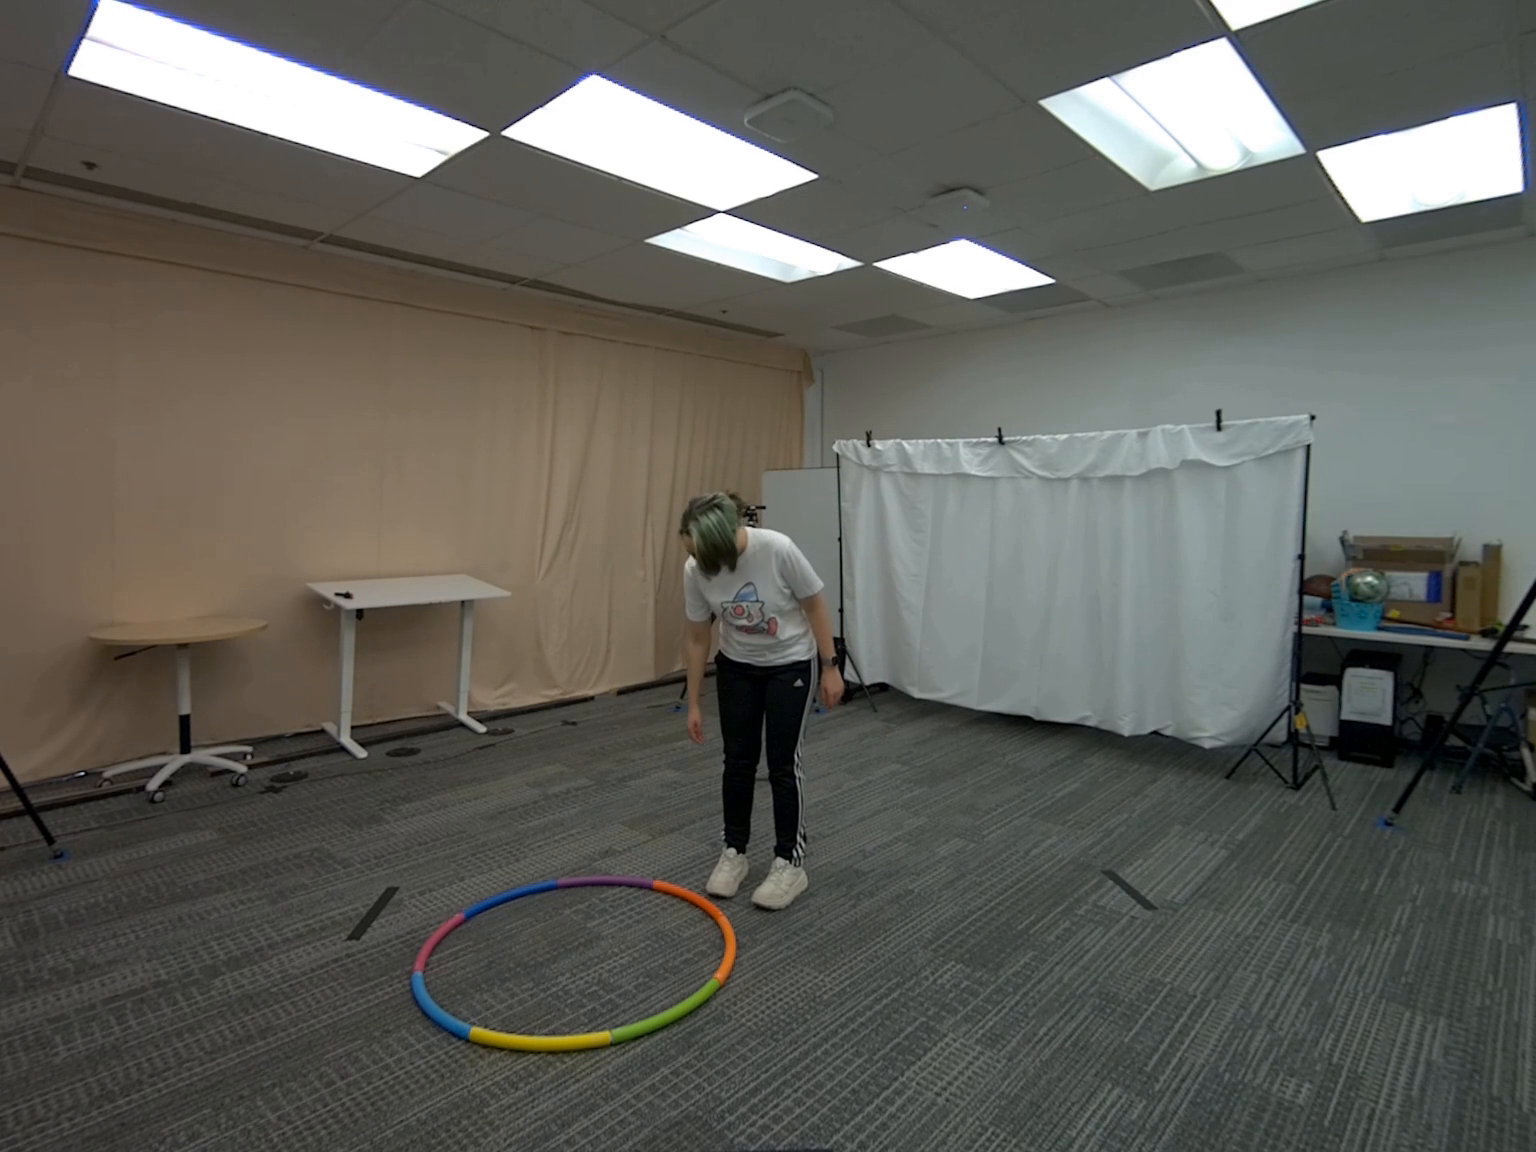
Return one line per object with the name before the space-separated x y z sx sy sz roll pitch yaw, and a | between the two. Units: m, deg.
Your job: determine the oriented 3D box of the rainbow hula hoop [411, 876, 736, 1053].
rainbow hula hoop | -0.588 1.148 2.631 0.978 0.035 0.982 0 4 -2
